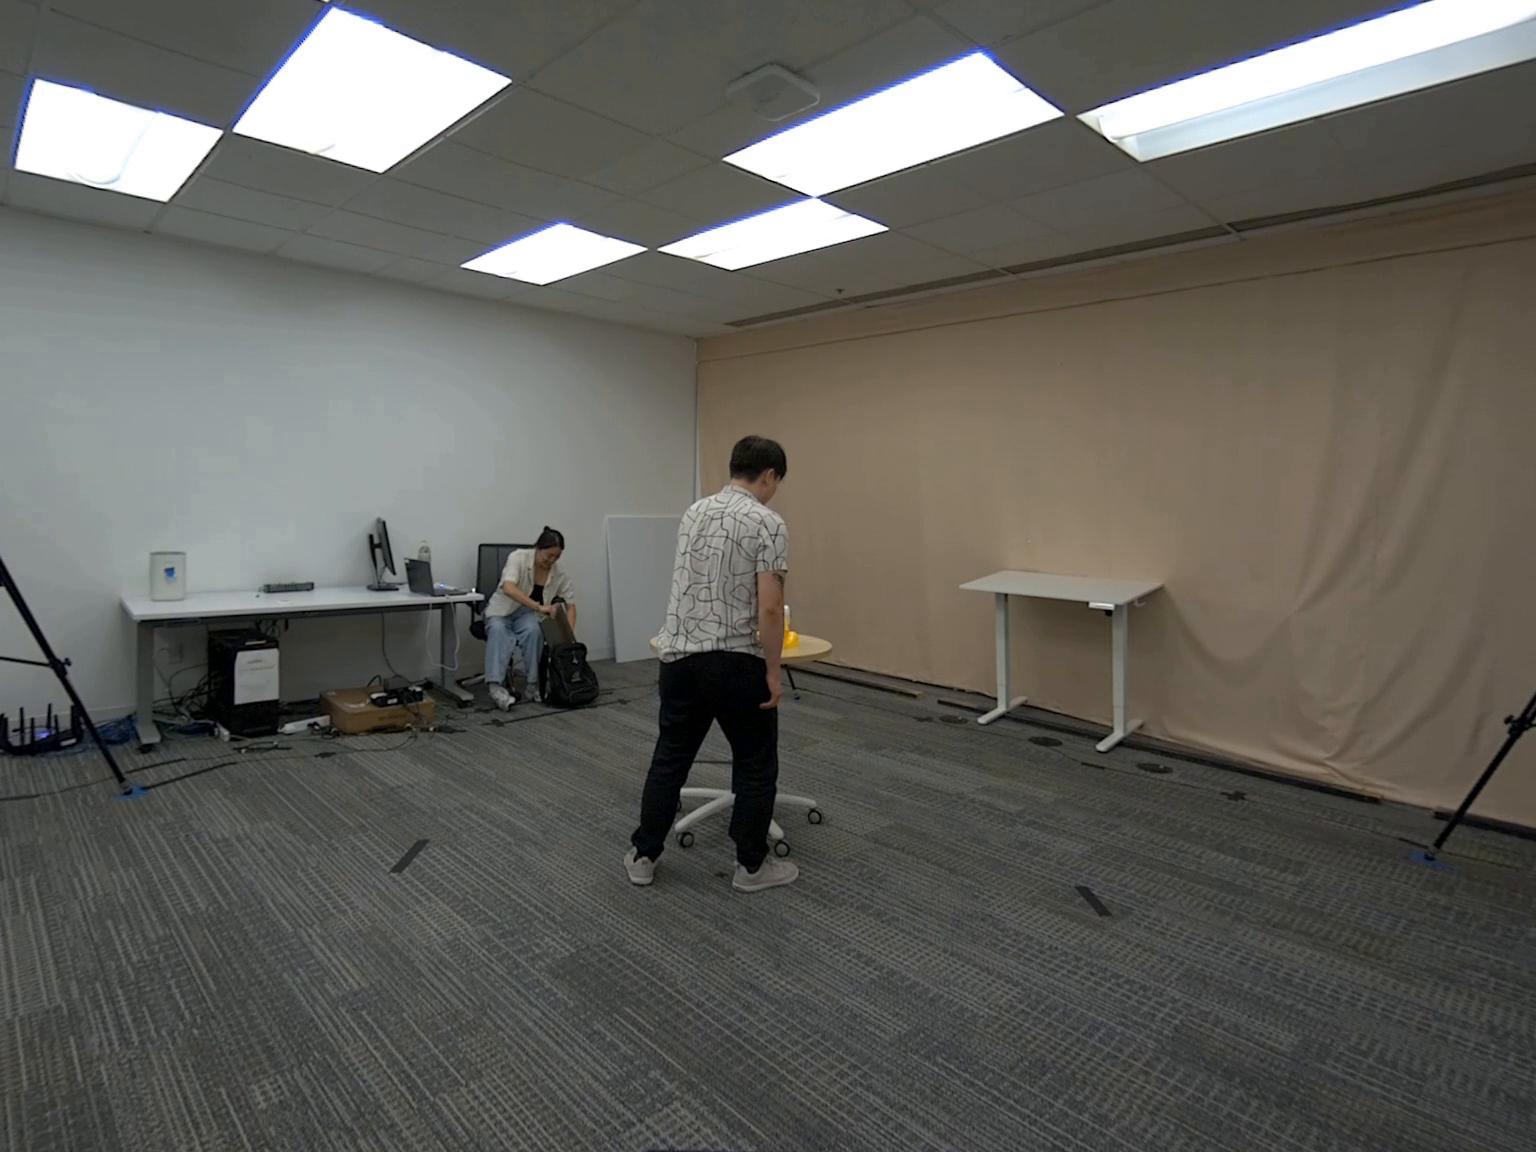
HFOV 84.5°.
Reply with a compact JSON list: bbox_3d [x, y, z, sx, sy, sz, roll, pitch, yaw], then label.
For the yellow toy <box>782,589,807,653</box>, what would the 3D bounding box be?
[{"bbox_3d":[0.020,0.177,3.520,0.209,0.230,0.189,3,4,29],"label":"yellow toy"}]
